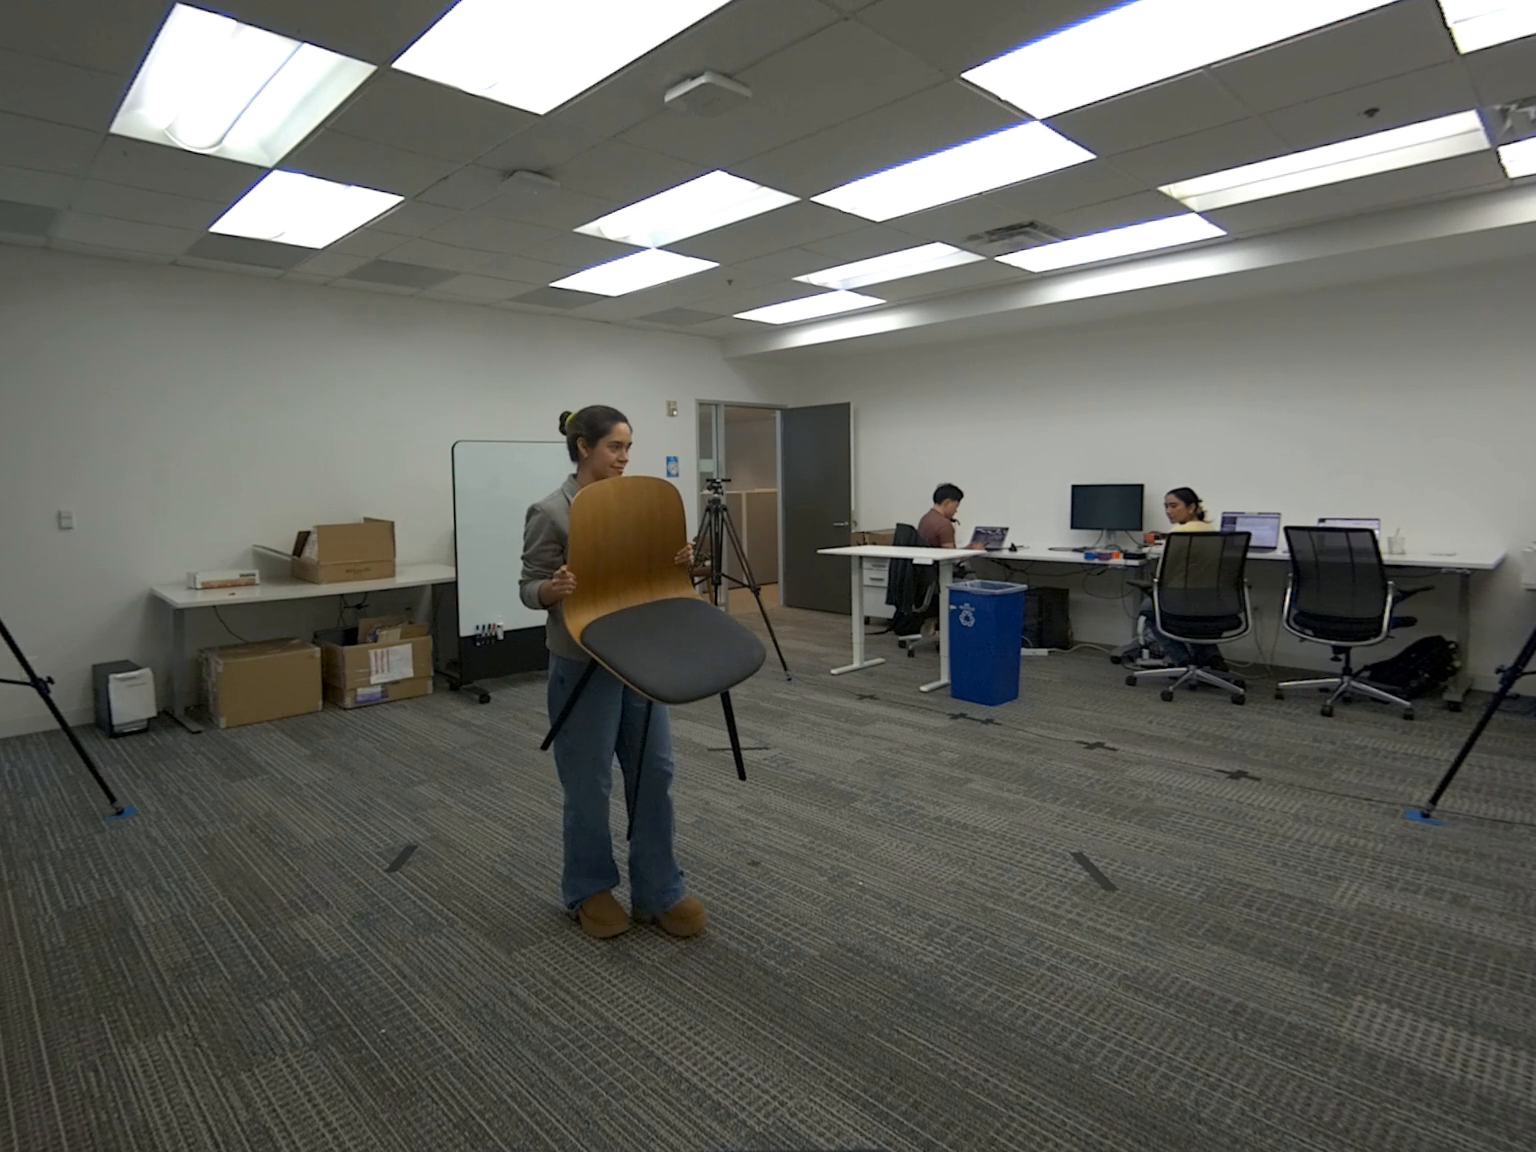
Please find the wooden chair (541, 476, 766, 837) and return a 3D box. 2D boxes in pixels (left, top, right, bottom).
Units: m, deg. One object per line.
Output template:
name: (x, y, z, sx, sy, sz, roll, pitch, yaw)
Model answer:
wooden chair: (-0.296, 0.213, 2.443, 0.468, 0.864, 0.543, -14, 29, -43)
